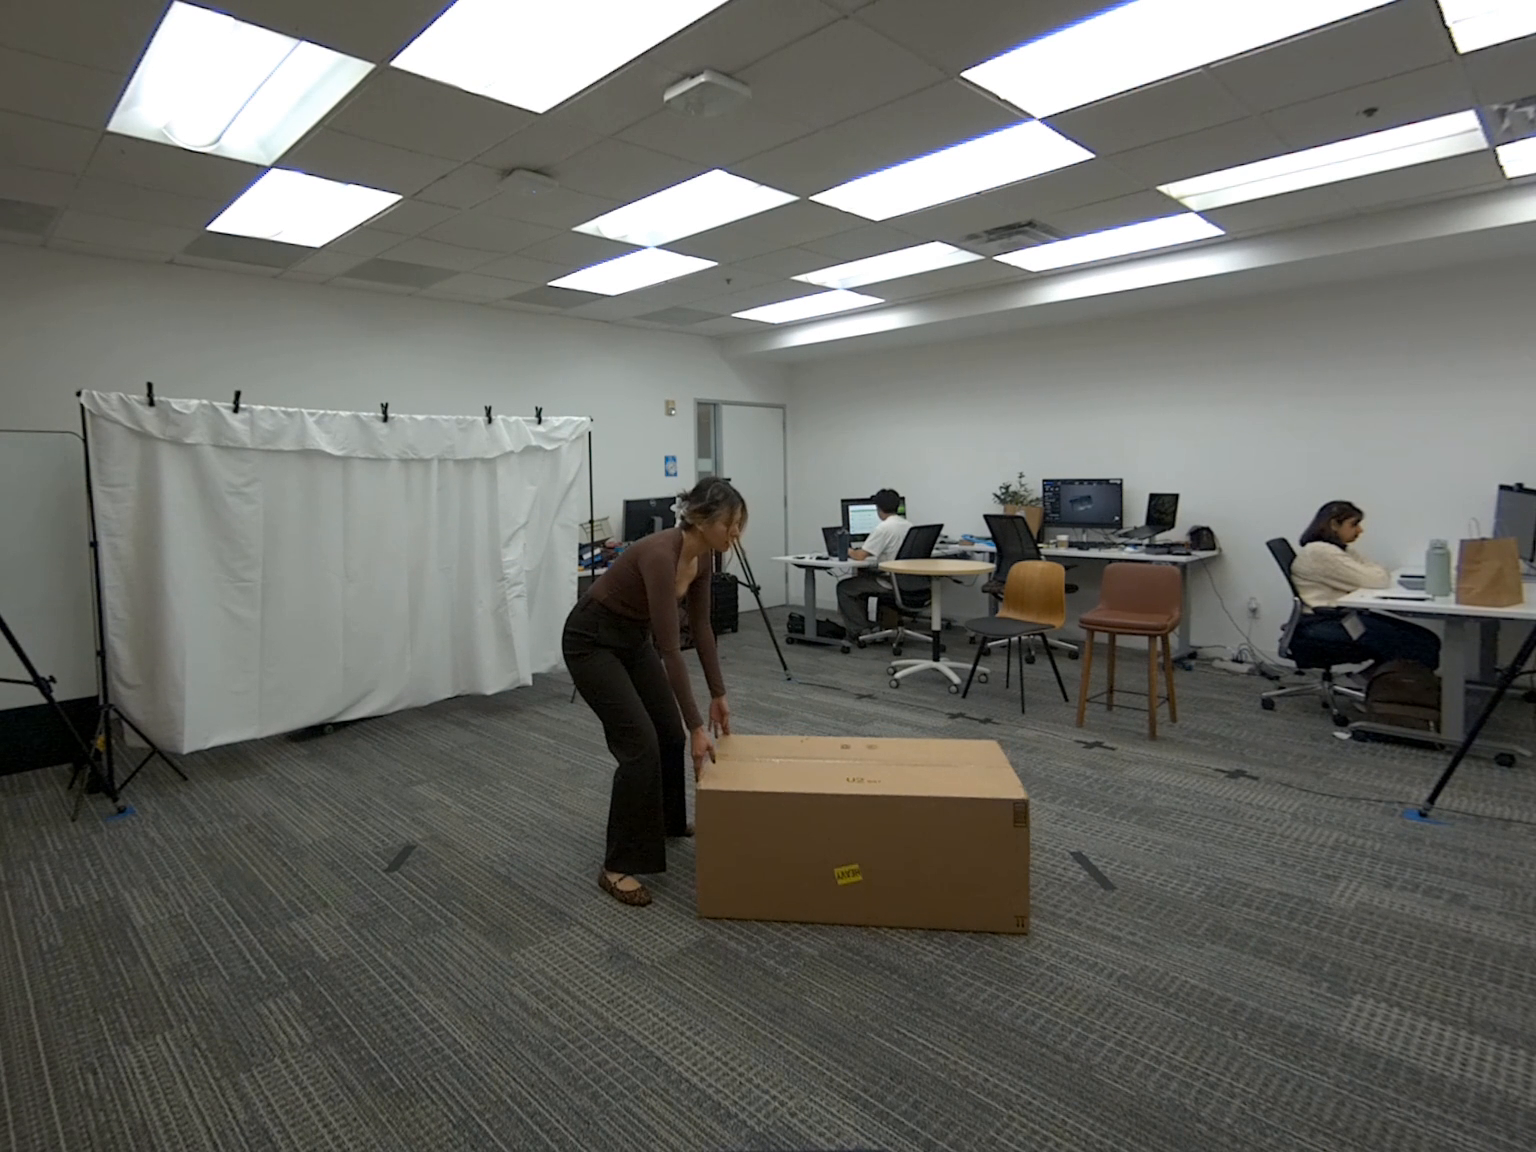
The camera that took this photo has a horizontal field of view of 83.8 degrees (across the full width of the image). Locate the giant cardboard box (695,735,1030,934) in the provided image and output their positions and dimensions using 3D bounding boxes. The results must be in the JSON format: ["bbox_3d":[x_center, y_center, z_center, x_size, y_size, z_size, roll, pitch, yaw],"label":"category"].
[{"bbox_3d":[0.306,0.841,2.917,1.035,0.444,0.583,-1,6,7],"label":"giant cardboard box"}]
